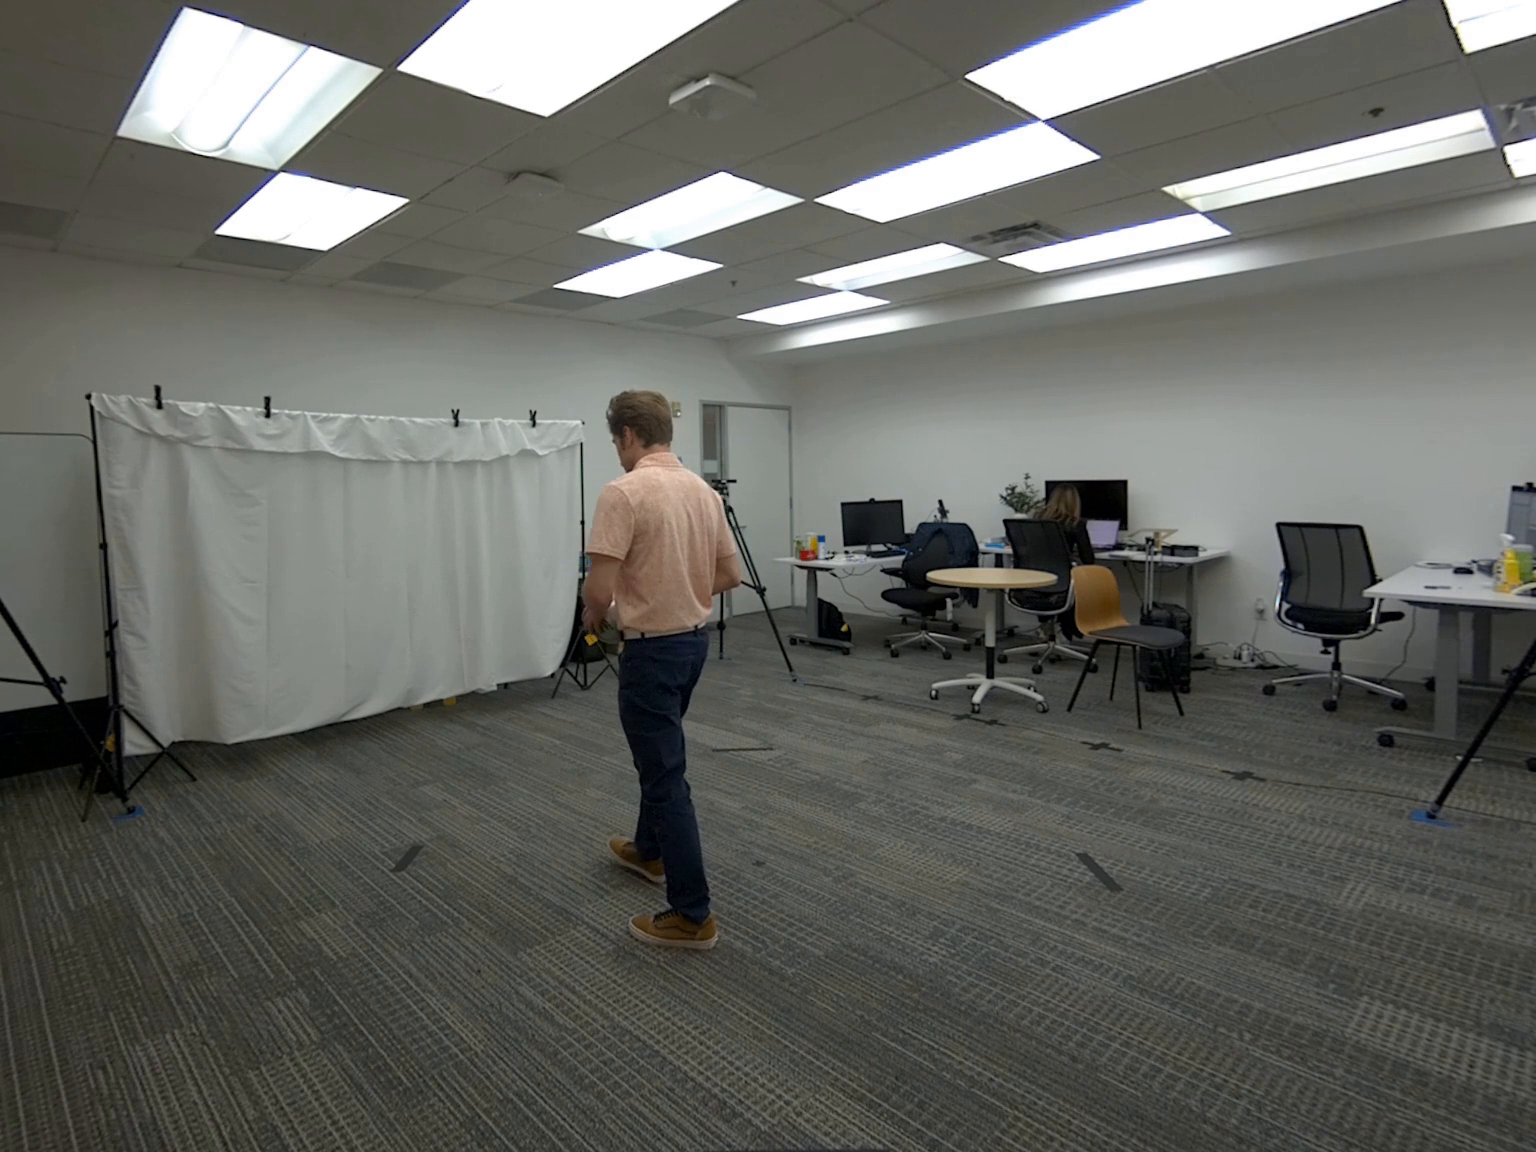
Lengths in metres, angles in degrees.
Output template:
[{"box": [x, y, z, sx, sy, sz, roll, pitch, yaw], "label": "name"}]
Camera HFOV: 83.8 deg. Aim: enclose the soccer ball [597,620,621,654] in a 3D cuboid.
[{"box": [-0.506, 0.128, 2.887, 0.187, 0.187, 0.188, -1, 5, -2], "label": "soccer ball"}]
